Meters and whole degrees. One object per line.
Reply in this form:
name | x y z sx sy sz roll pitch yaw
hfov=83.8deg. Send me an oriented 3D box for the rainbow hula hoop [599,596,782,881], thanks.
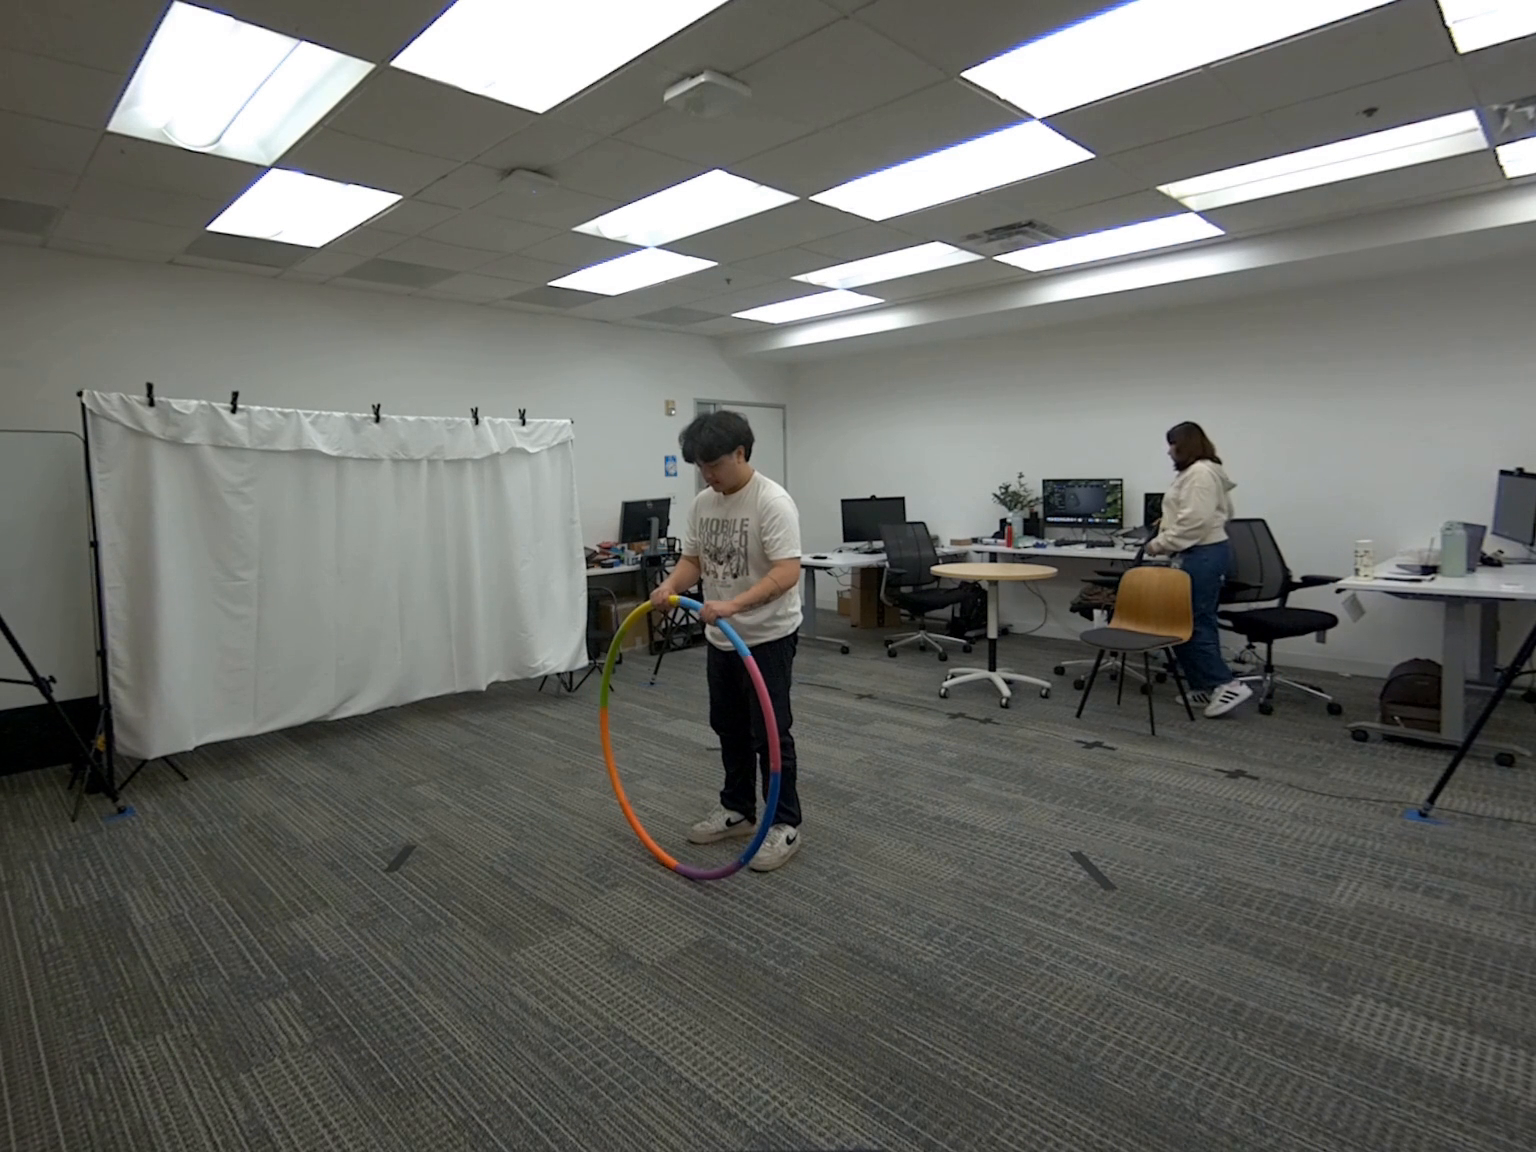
rainbow hula hoop | -0.317 0.565 3.015 0.050 0.983 1.016 -2 4 -43
